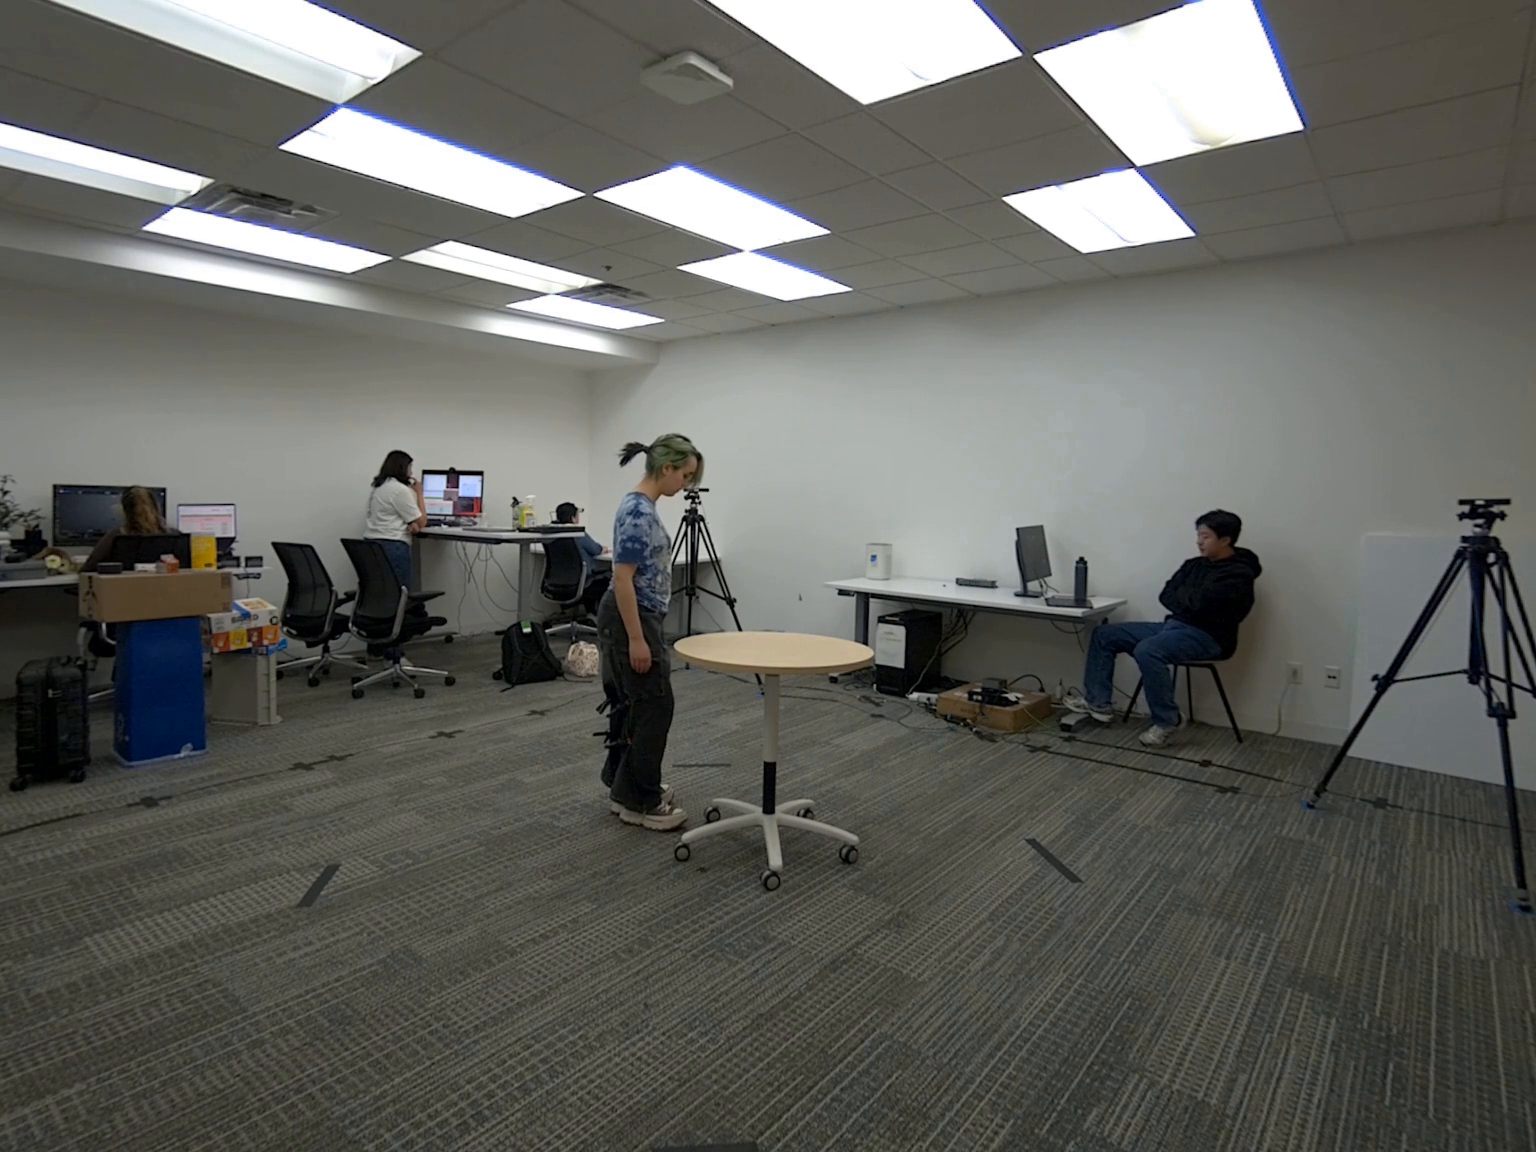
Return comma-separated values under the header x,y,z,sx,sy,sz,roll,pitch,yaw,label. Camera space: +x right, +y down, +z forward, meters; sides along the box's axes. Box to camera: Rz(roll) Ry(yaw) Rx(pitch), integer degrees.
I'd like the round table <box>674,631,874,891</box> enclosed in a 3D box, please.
x,y,z,sx,sy,sz,roll,pitch,yaw,label
-0.003,0.667,3.288,0.763,0.791,0.768,1,4,-2,round table
